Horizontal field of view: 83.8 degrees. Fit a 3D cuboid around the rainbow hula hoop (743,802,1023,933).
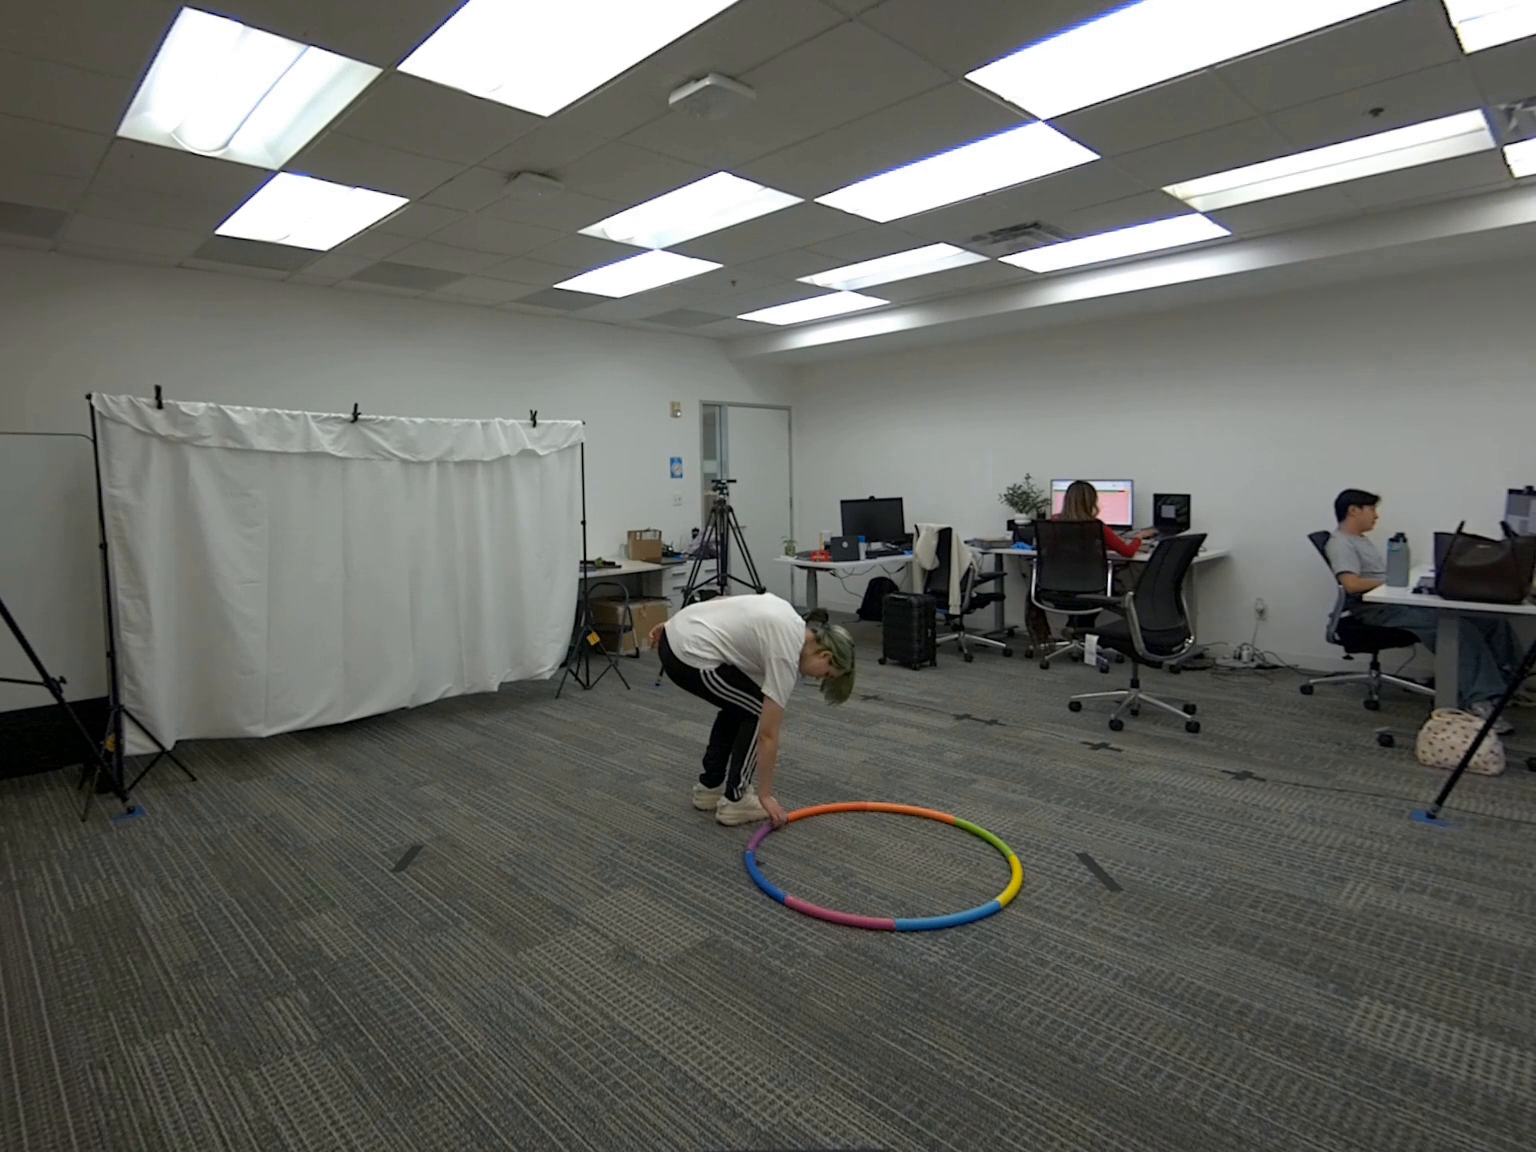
[{"bbox_3d":[0.399,1.010,3.109,0.978,0.035,0.984,-2,6,-2],"label":"rainbow hula hoop"}]
